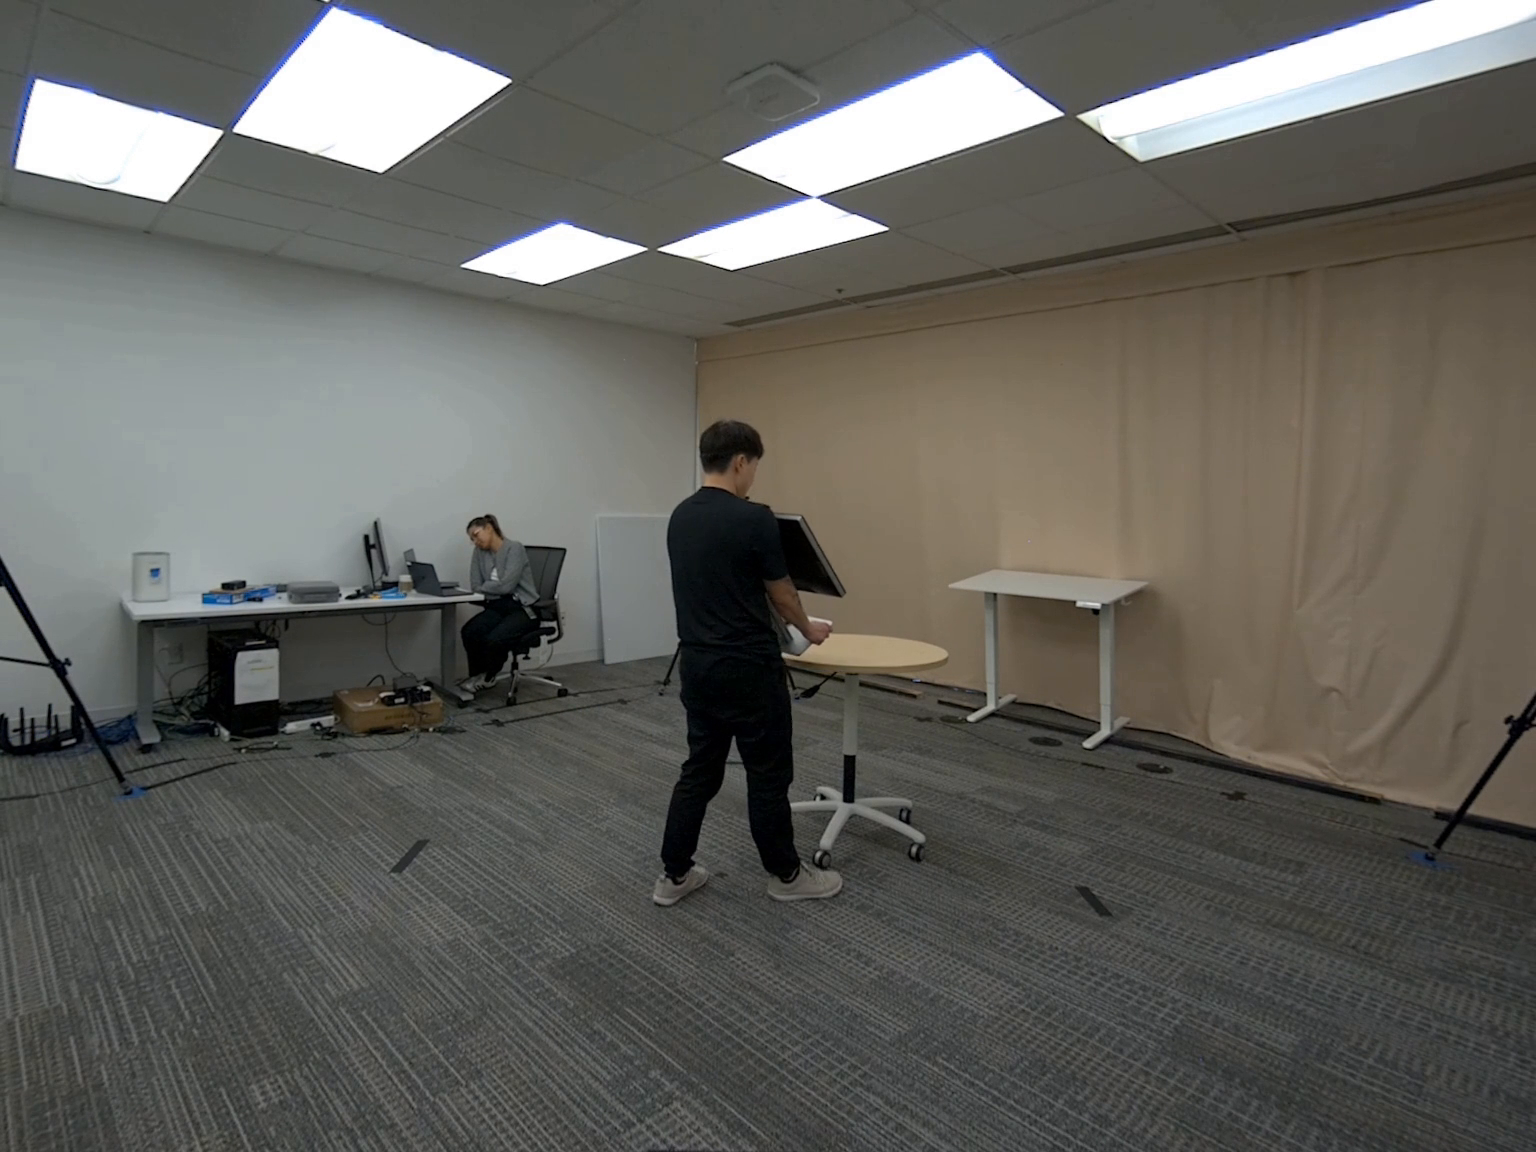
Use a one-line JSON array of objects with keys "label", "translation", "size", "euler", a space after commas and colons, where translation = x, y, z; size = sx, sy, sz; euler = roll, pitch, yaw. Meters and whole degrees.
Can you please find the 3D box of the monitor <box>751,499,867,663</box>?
[{"label": "monitor", "translation": [0.010, -0.002, 3.028], "size": [0.553, 0.511, 0.186], "euler": [7, 38, 46]}]
